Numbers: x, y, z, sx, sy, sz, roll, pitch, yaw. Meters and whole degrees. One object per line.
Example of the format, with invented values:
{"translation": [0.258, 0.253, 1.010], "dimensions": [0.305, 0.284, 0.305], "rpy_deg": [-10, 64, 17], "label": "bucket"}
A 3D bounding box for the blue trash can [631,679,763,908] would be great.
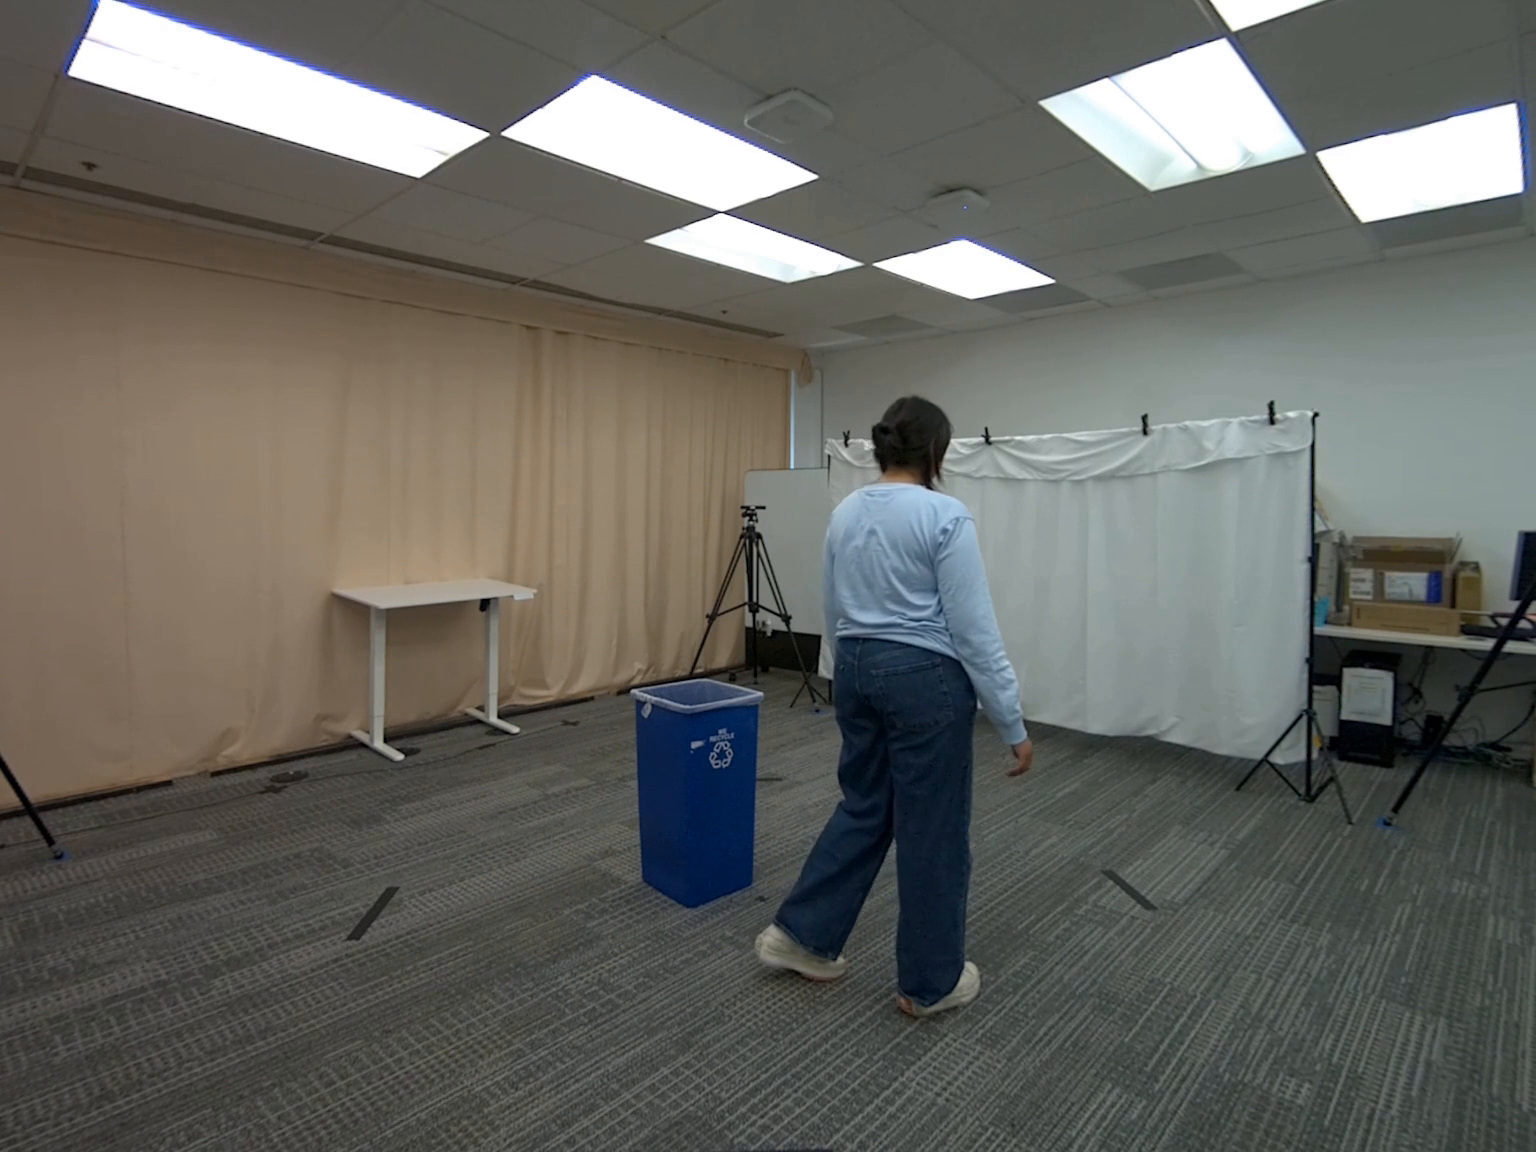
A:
{"translation": [-0.257, 0.778, 3.102], "dimensions": [0.363, 0.712, 0.390], "rpy_deg": [-3, 5, -41], "label": "blue trash can"}
